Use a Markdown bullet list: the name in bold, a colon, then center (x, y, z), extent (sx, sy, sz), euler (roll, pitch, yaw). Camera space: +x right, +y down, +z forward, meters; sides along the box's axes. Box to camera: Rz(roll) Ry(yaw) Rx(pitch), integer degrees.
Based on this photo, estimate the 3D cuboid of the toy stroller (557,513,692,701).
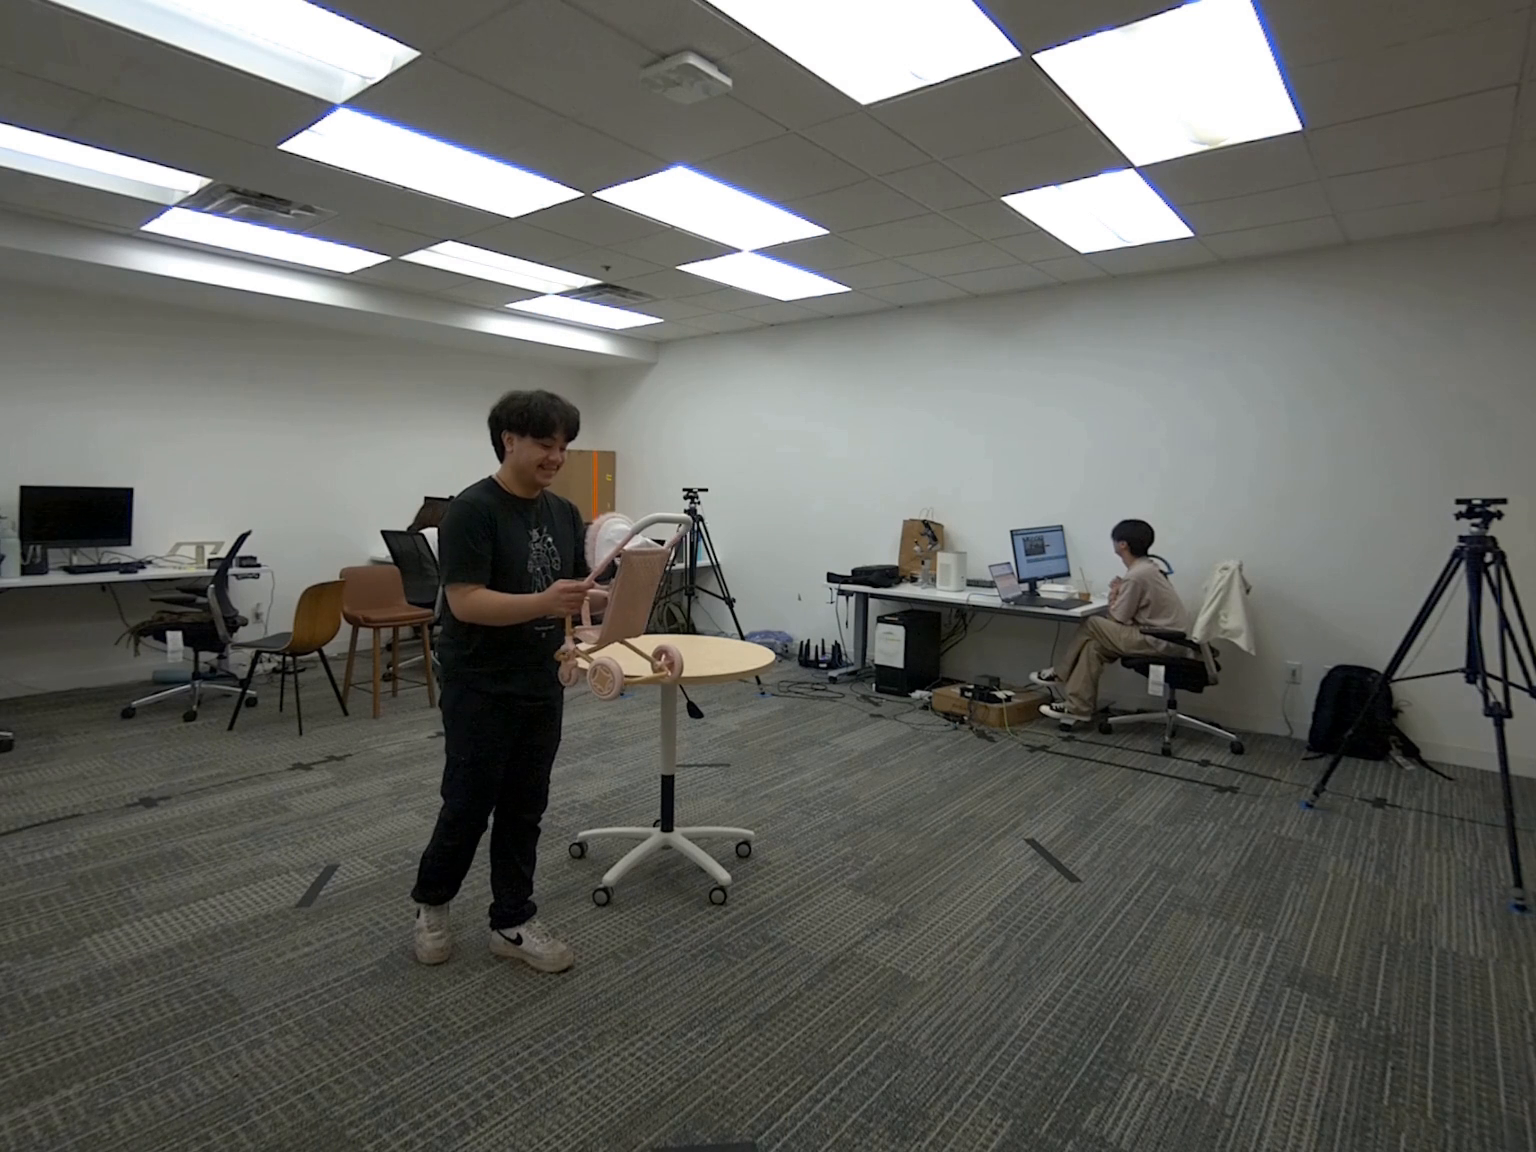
- **toy stroller**: center (-0.422, 0.076, 2.249), extent (0.354, 0.531, 0.273), euler (13, 10, 37)
